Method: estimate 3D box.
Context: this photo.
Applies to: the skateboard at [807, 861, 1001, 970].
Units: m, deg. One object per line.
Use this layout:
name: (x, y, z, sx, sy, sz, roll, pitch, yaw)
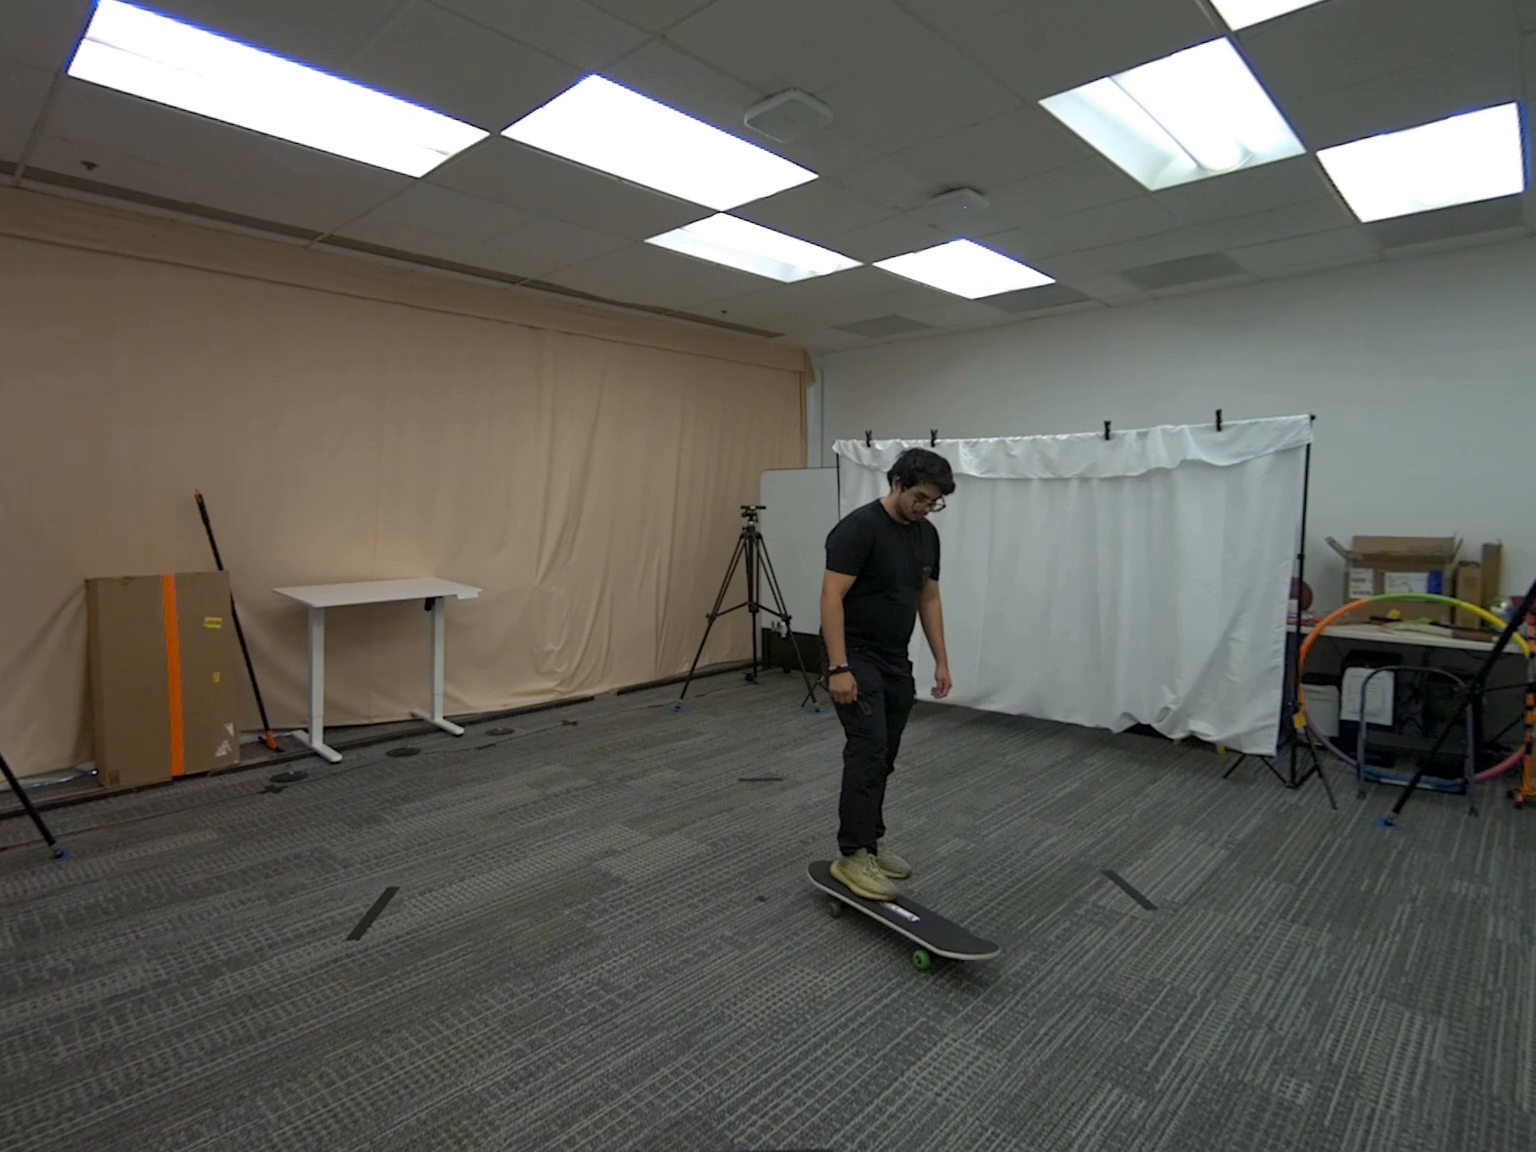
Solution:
skateboard: (0.409, 1.102, 2.727, 0.188, 0.110, 0.809, 2, 1, -34)
